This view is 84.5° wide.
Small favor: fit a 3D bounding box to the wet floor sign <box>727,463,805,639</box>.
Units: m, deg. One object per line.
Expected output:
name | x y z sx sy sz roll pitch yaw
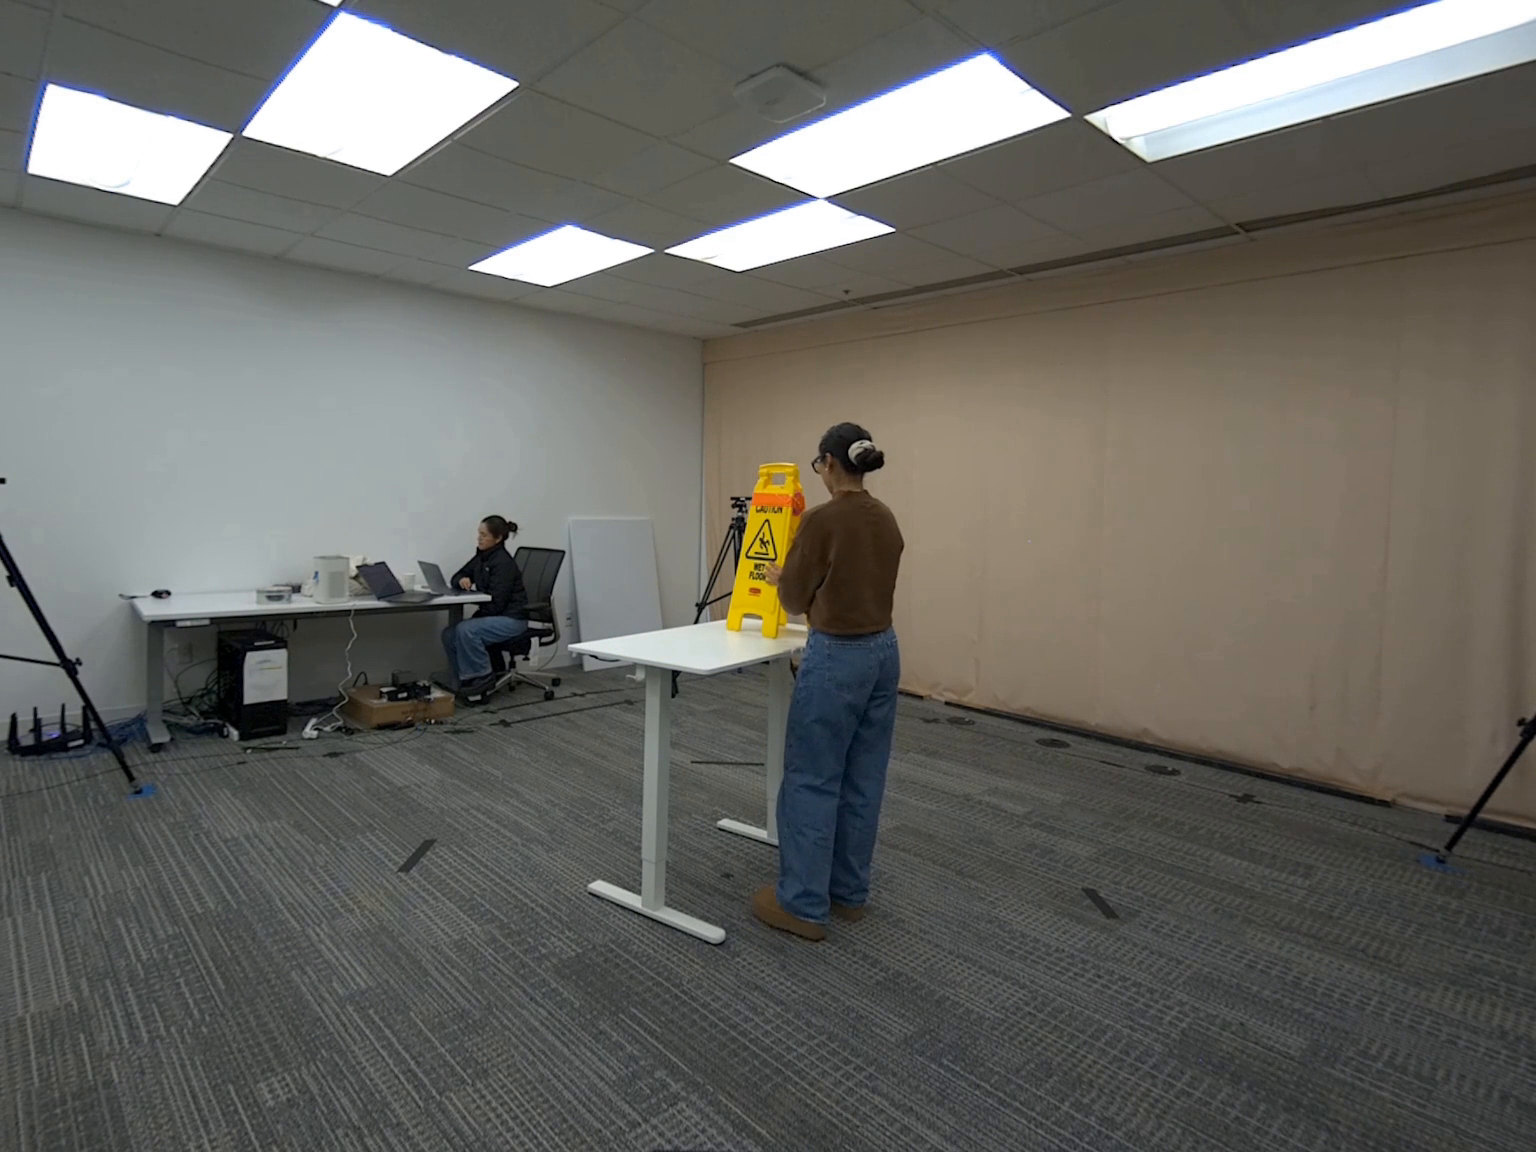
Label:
wet floor sign | 0.023 -0.107 3.259 0.283 0.644 0.289 -2 4 -41
